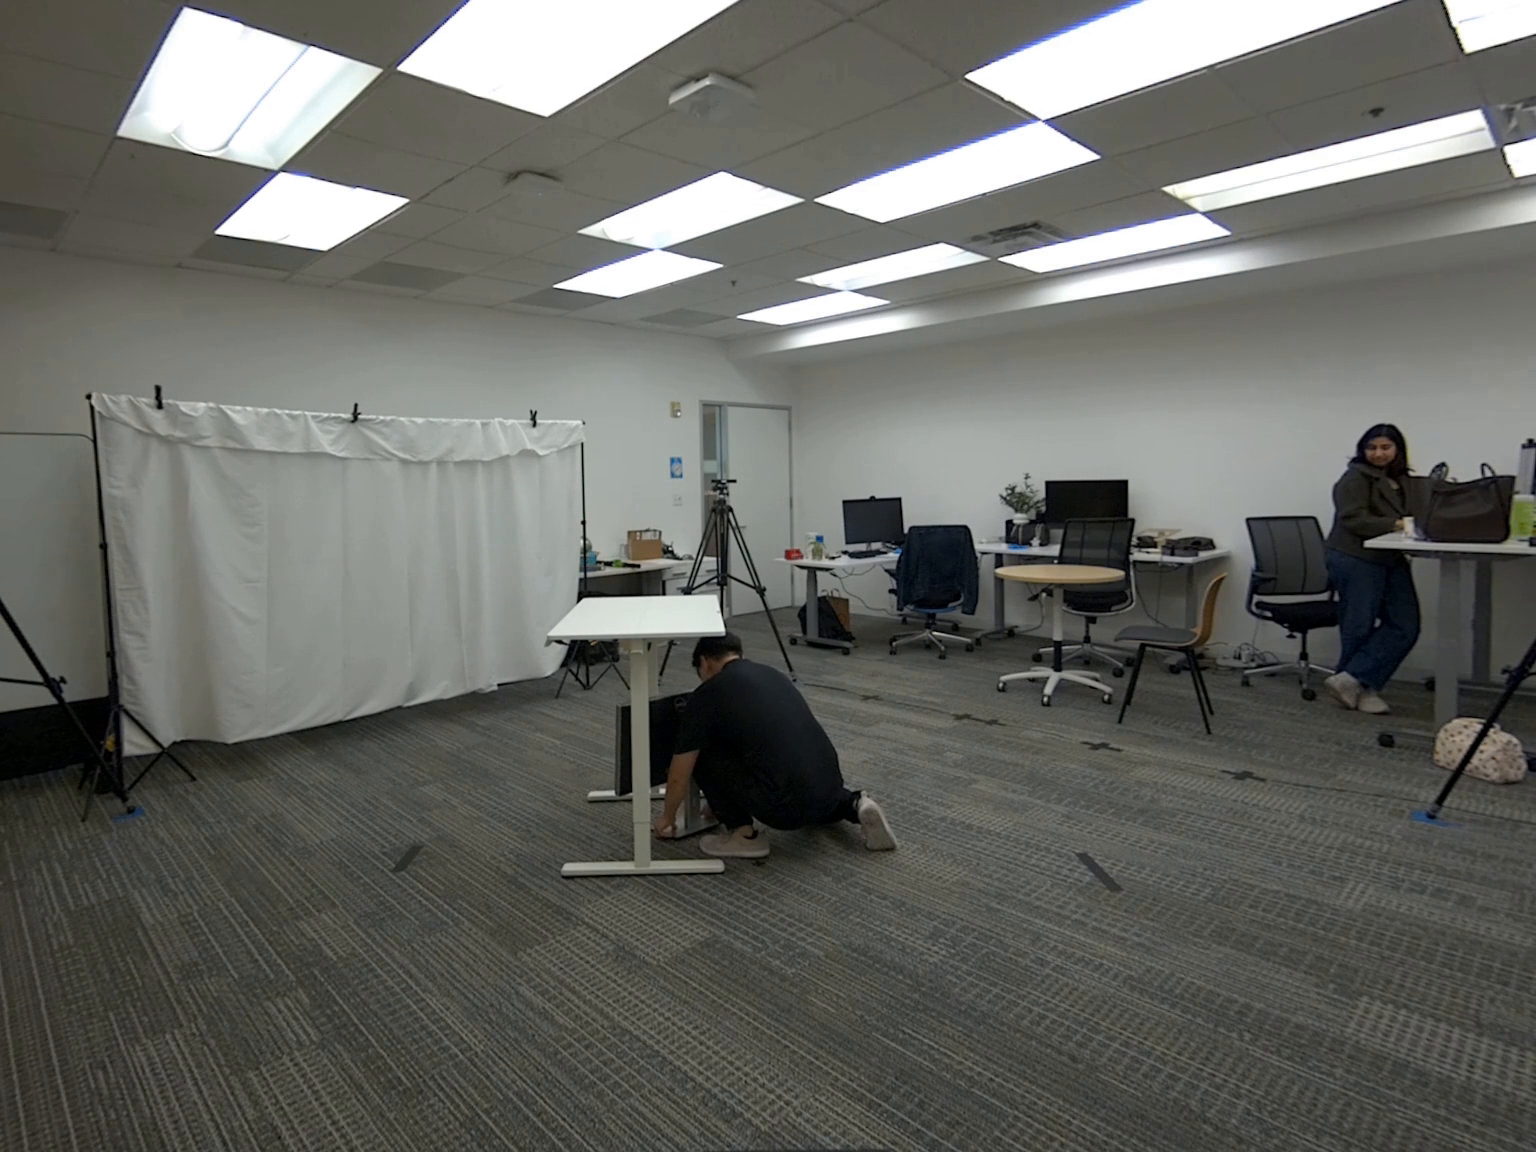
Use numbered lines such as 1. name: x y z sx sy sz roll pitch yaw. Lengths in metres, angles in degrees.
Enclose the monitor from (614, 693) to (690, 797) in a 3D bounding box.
1. monitor: -0.343 0.737 3.456 0.524 0.524 0.191 -4 -4 -43
